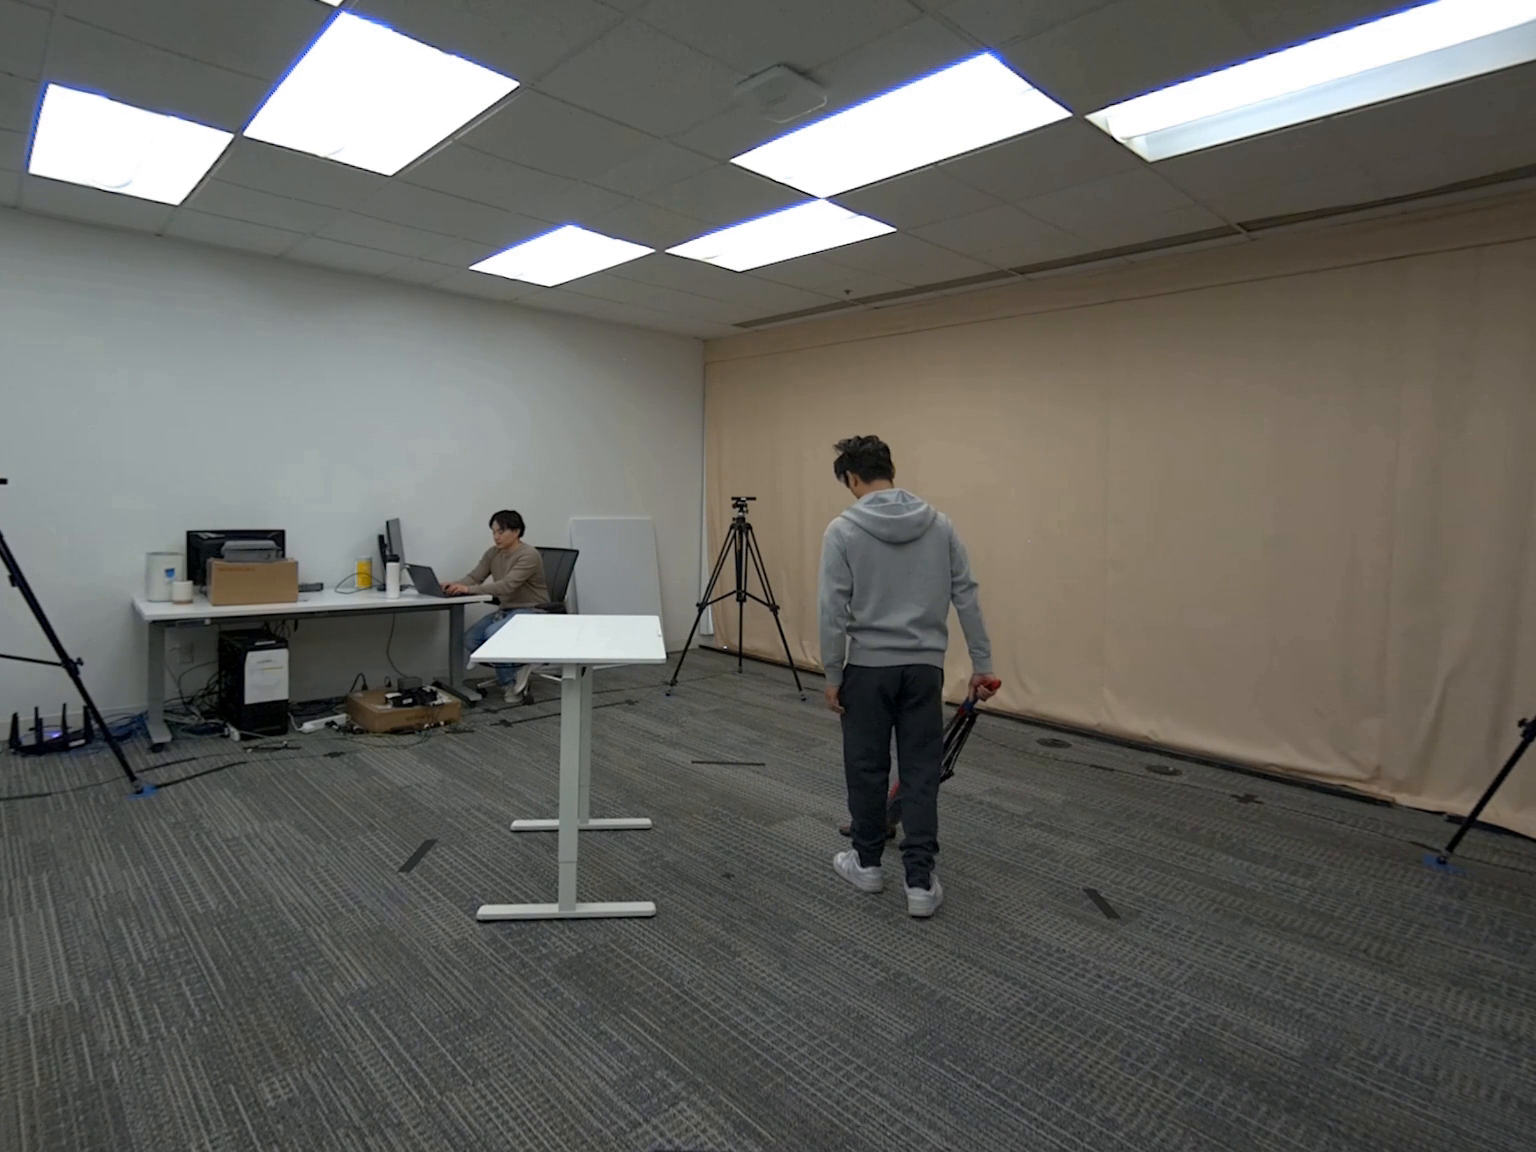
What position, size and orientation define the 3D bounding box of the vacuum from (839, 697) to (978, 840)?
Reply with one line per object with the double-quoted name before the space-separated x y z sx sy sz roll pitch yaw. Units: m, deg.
"vacuum" 0.598 0.725 3.197 0.248 0.148 1.039 0 -42 -27
